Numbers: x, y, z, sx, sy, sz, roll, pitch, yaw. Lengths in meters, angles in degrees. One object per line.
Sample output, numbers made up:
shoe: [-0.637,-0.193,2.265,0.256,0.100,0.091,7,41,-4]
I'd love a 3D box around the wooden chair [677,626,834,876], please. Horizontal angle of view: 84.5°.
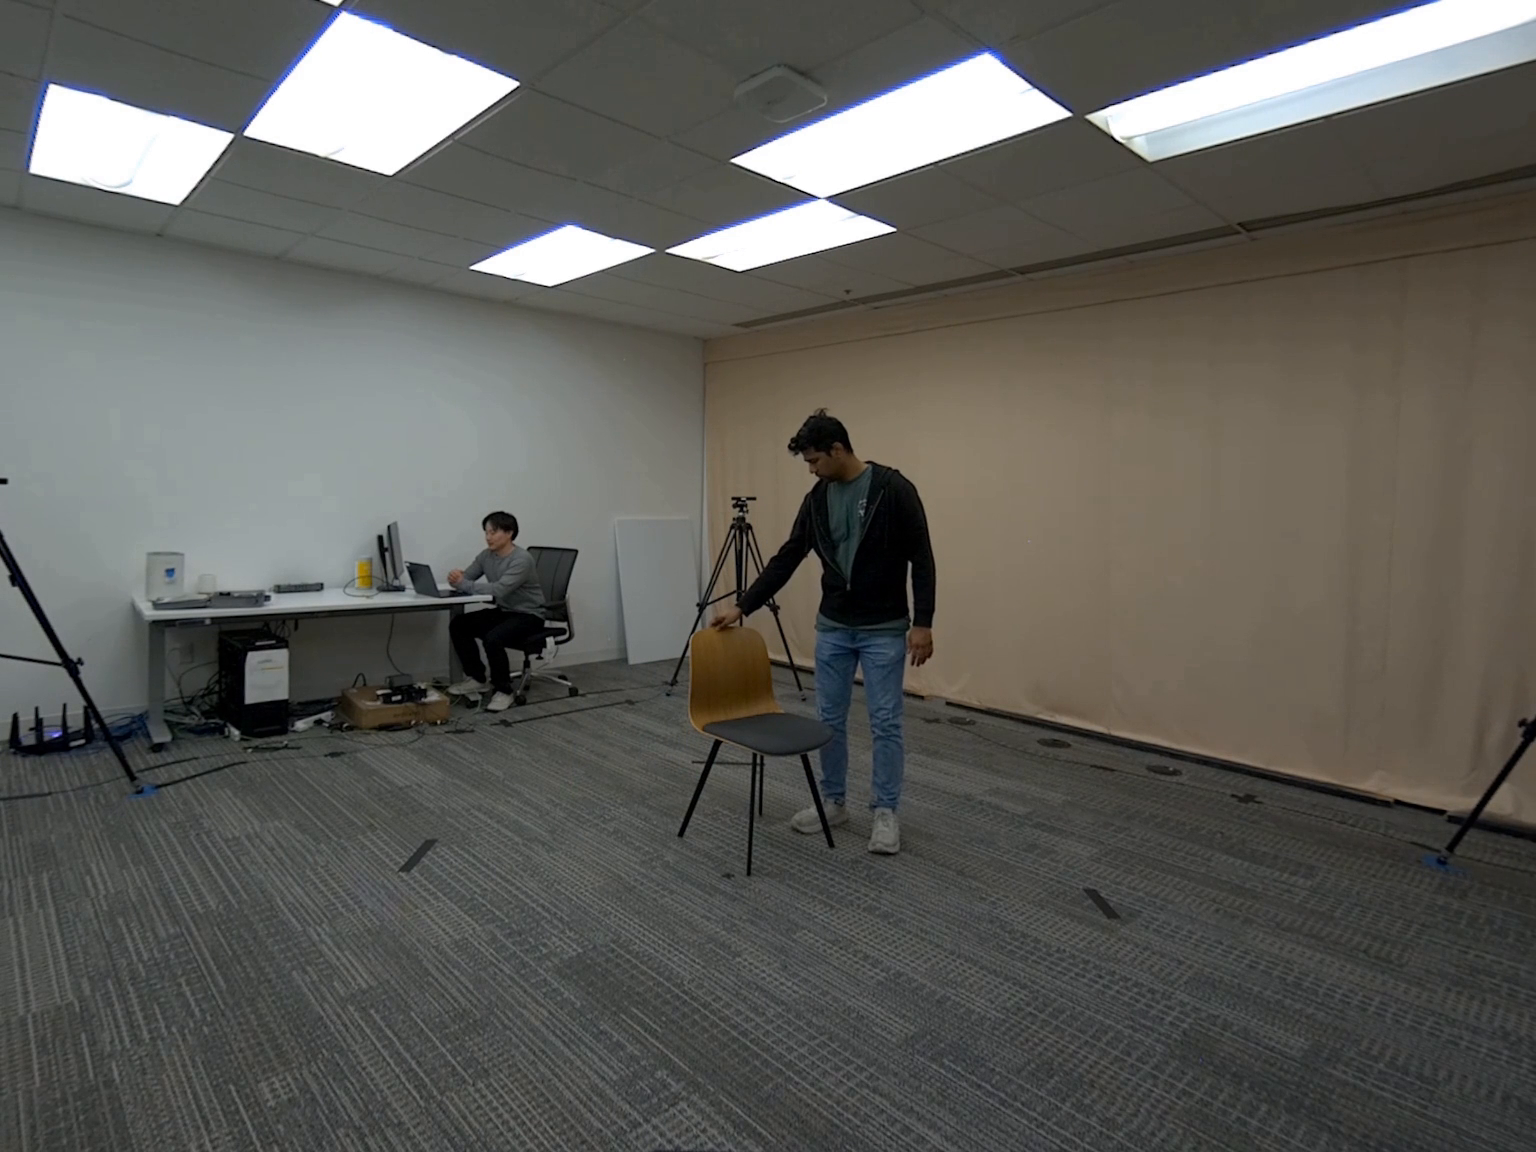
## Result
wooden chair: [-0.047,0.657,3.373,0.467,0.878,0.535,-1,0,-40]
